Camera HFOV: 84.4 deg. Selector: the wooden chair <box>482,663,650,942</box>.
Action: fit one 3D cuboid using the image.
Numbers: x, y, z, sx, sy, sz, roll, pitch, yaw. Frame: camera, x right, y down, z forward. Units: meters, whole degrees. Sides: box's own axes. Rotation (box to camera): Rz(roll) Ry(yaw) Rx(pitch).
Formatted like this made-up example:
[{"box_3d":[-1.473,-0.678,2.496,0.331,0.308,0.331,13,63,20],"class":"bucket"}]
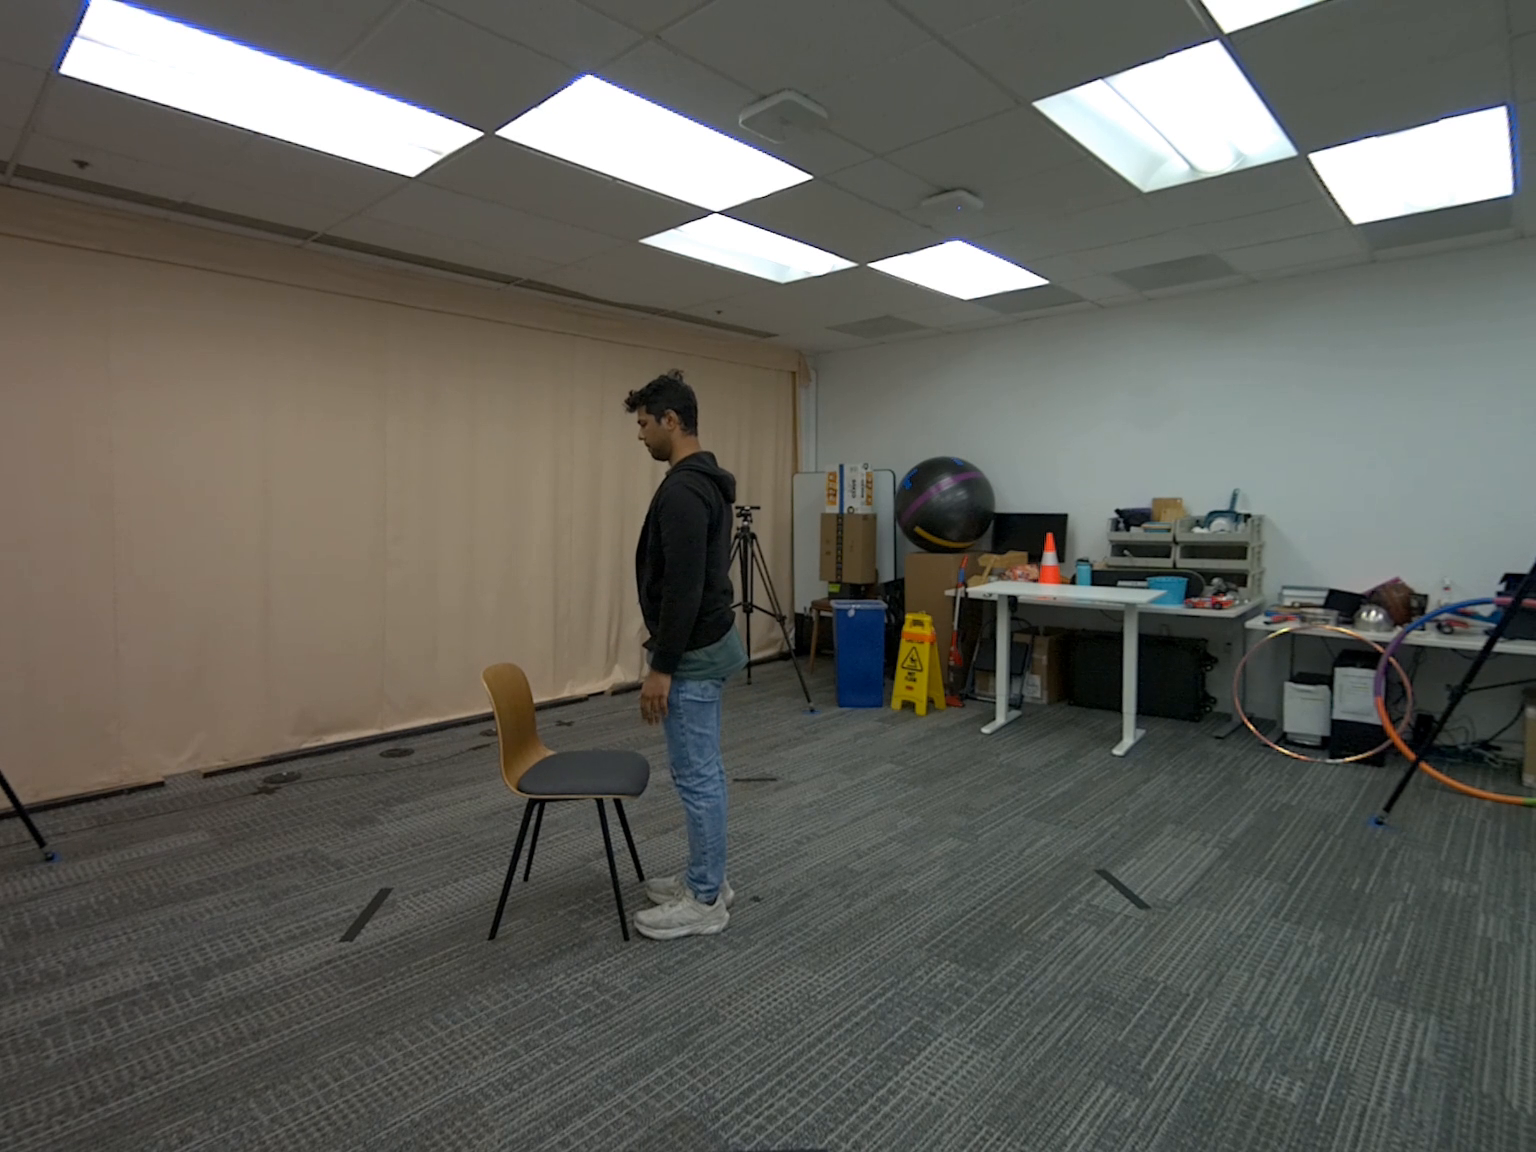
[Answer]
[{"box_3d":[-0.672,0.729,2.904,0.523,0.876,0.479,-5,2,0],"class":"wooden chair"}]
